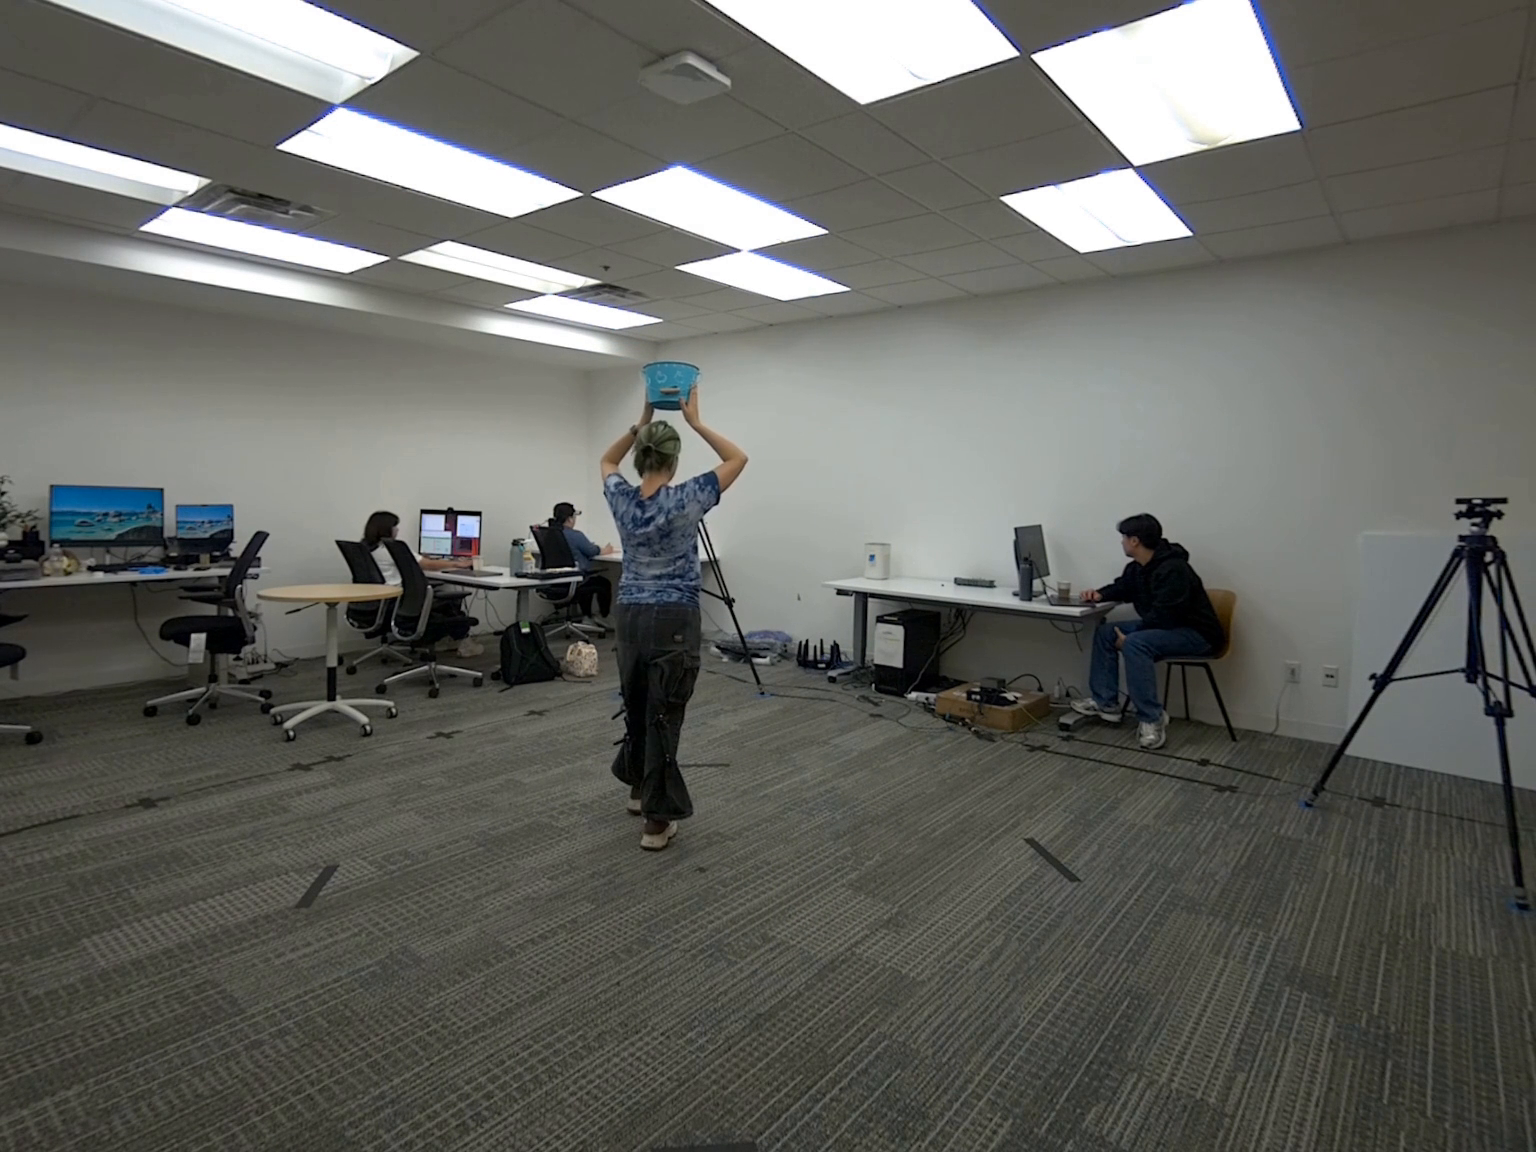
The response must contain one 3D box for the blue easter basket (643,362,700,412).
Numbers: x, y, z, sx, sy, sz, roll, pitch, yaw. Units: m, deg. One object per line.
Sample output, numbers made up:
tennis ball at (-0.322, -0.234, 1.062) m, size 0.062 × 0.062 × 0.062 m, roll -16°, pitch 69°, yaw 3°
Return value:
blue easter basket at (-0.414, -0.776, 3.455) m, size 0.243 × 0.156 × 0.243 m, roll 1°, pitch -1°, yaw -2°
